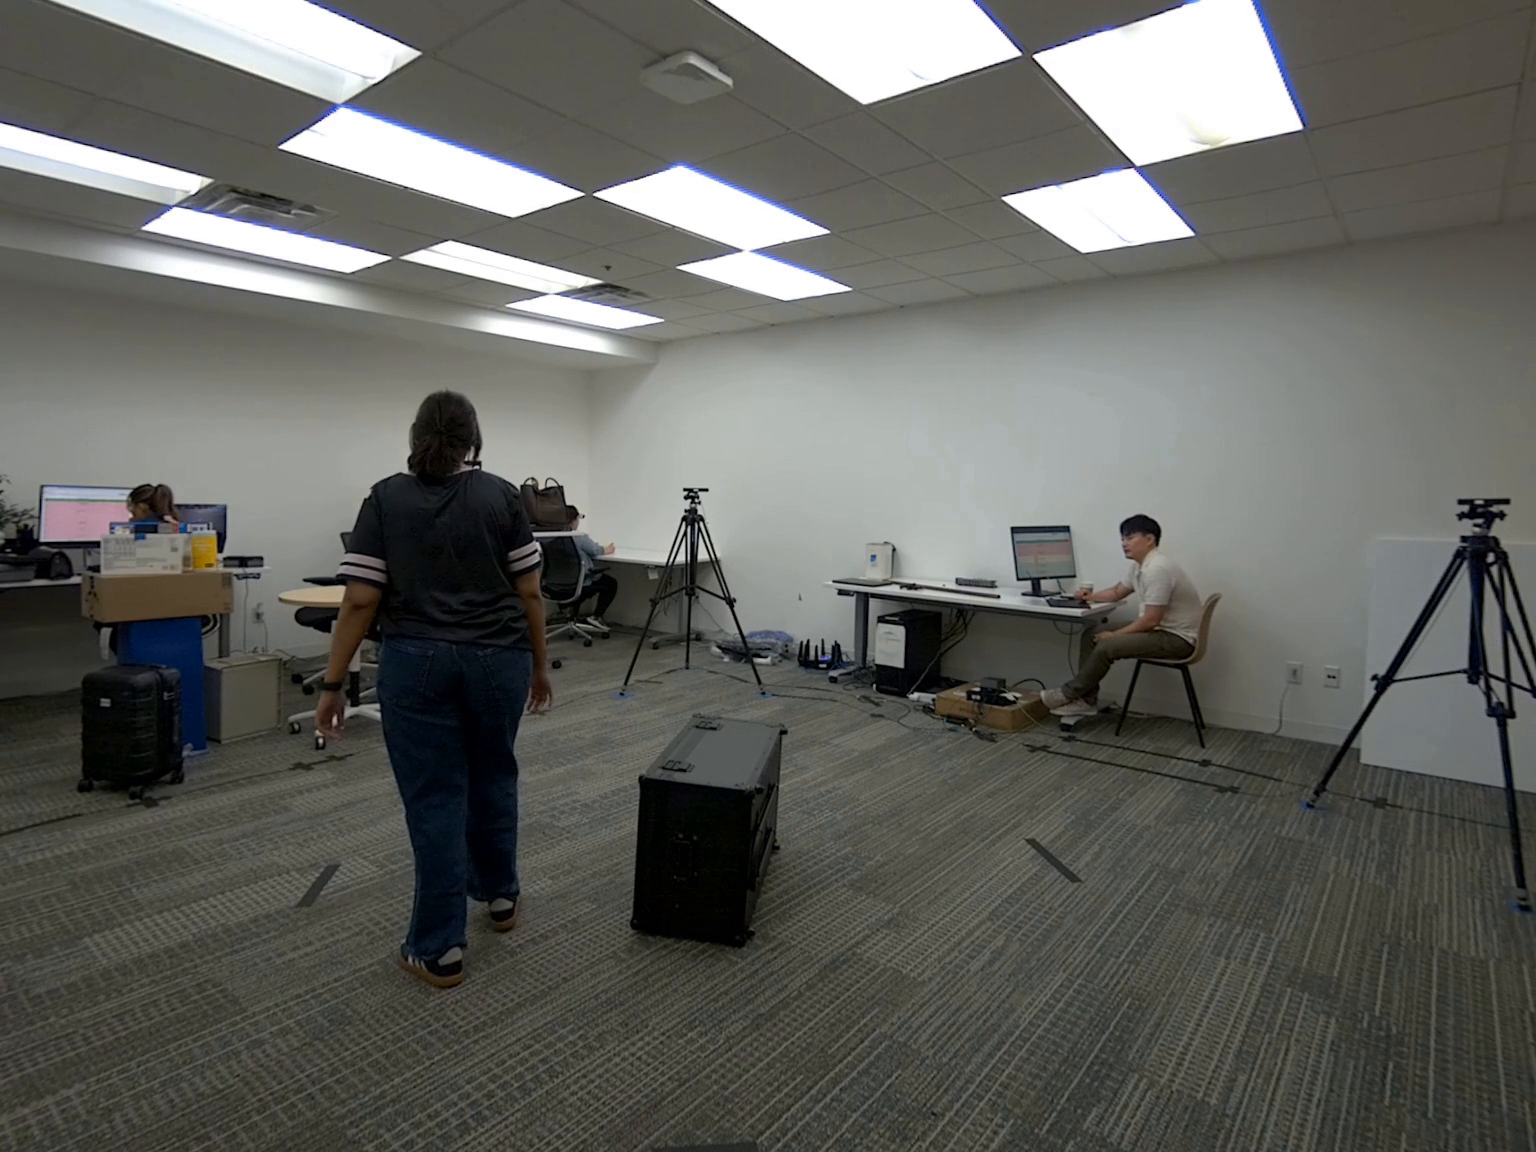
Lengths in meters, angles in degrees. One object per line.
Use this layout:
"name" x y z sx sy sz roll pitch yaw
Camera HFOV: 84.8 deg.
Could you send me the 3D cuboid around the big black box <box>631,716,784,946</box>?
"big black box" -0.180 0.824 3.007 0.389 0.521 0.862 2 5 8
